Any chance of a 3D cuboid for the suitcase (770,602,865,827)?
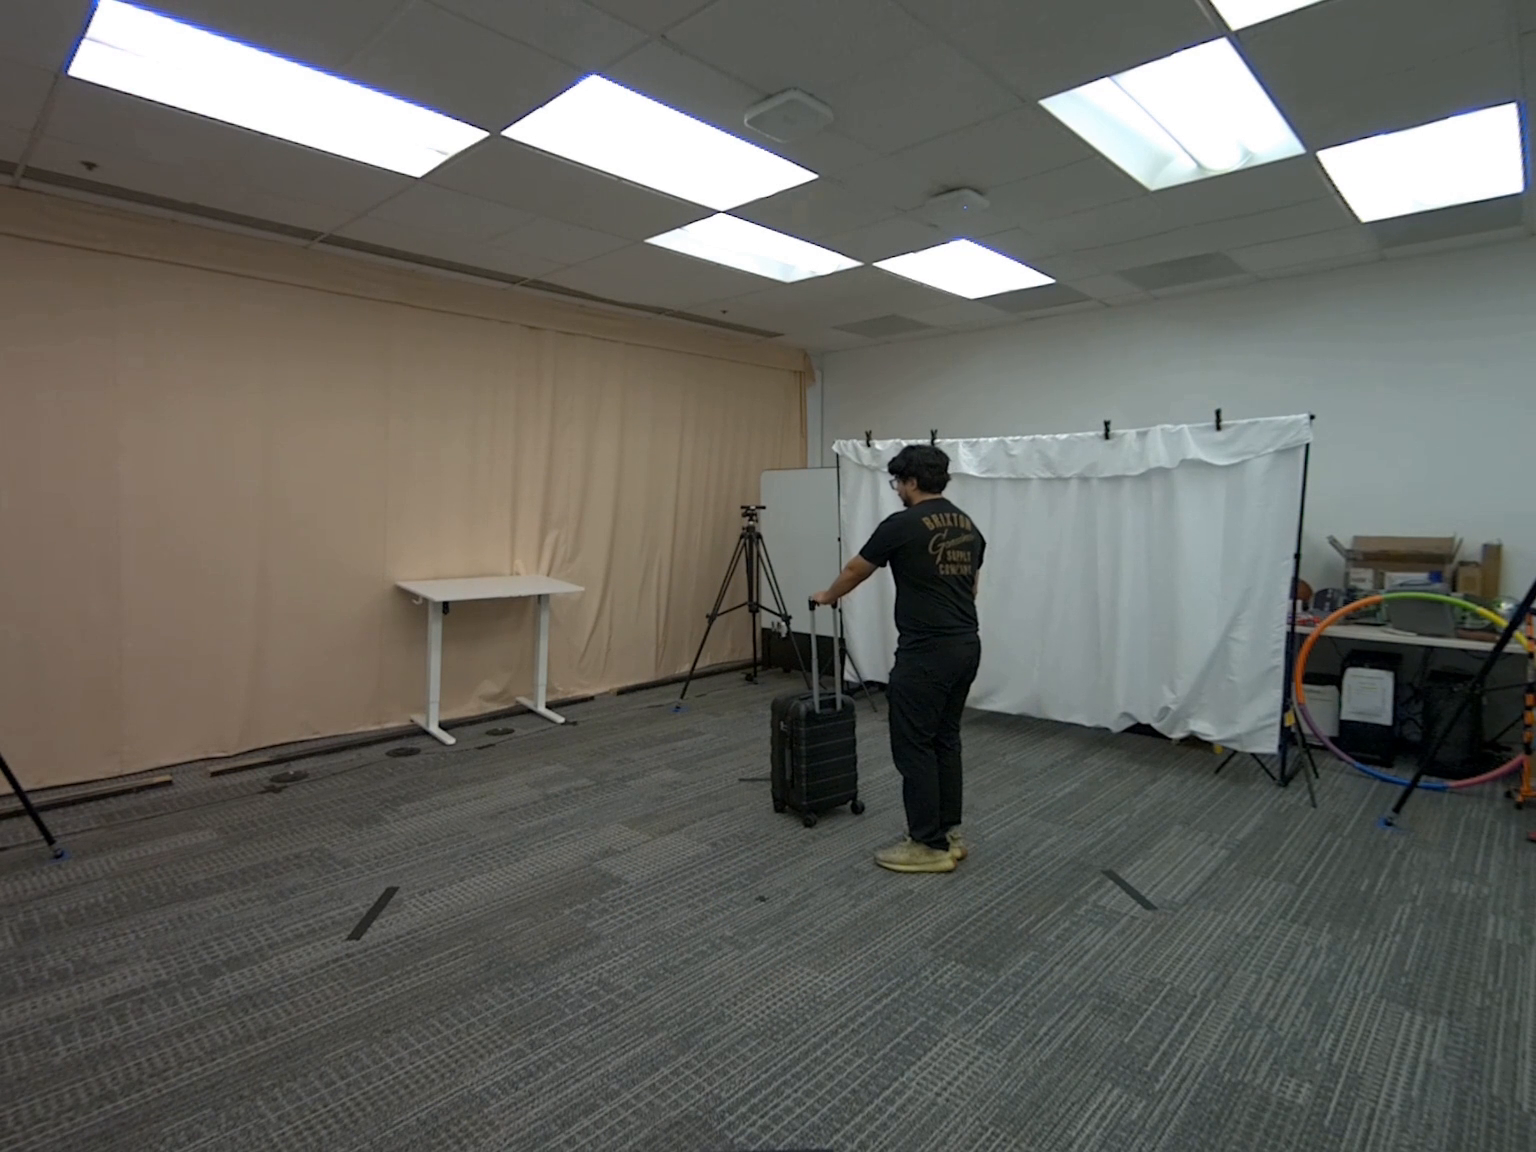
[{"bbox_3d":[0.202,0.595,3.827,0.373,0.978,0.264,-2,0,-32],"label":"suitcase"}]
